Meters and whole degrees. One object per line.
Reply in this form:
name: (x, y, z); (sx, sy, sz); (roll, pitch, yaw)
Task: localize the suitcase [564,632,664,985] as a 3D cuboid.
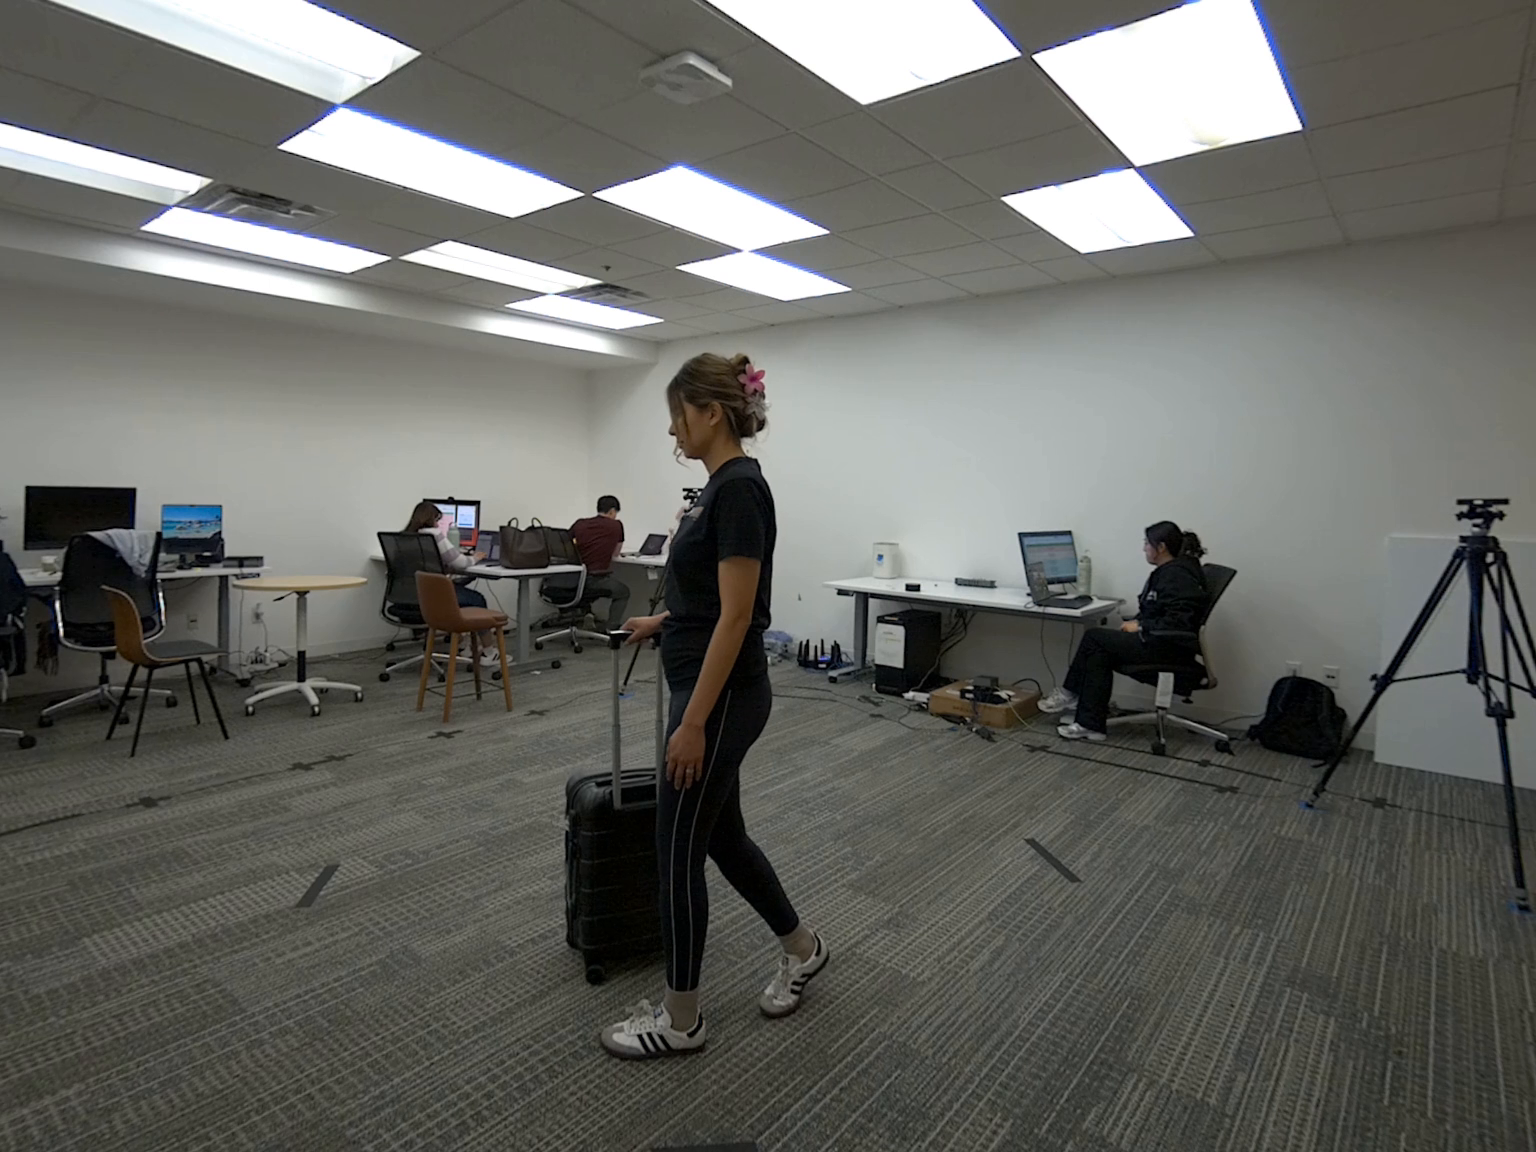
suitcase: (-0.429, 0.647, 2.529); (0.375, 0.977, 0.263); (-1, 2, -25)
